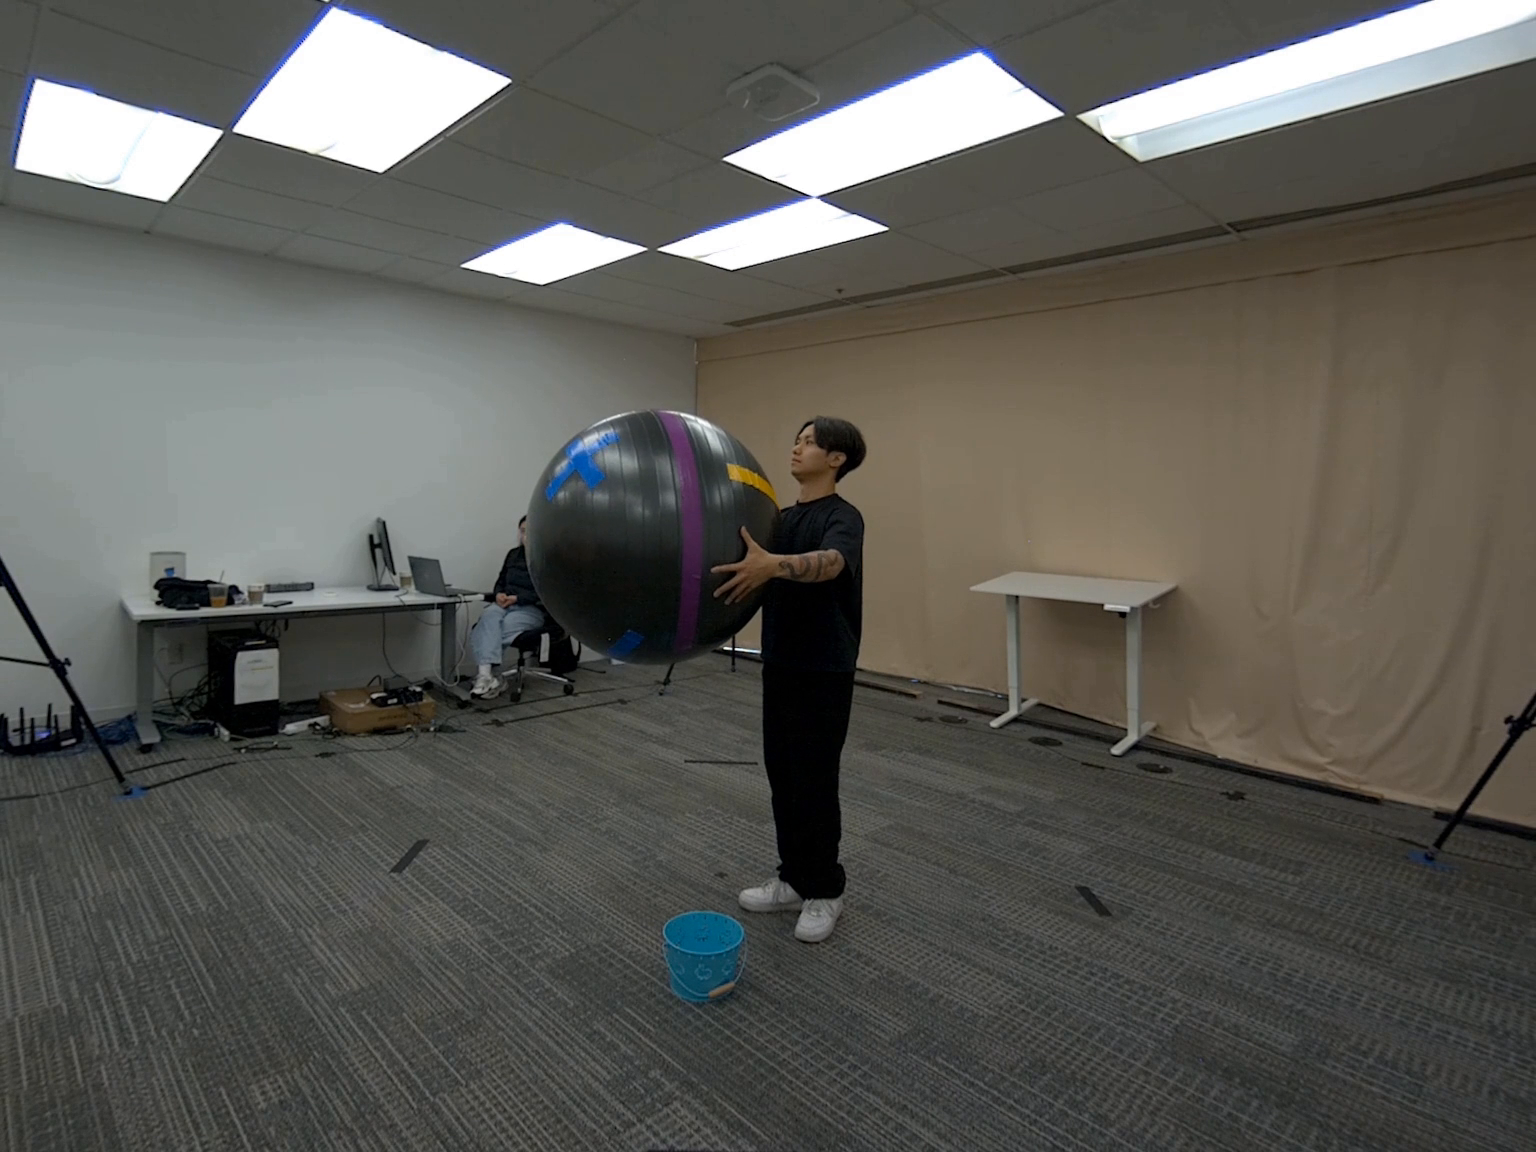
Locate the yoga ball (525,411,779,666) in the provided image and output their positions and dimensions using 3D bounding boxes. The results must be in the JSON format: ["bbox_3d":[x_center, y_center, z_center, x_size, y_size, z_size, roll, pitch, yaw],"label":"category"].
[{"bbox_3d":[-0.337,-0.108,2.513,0.757,0.756,0.761,1,4,-1],"label":"yoga ball"}]
